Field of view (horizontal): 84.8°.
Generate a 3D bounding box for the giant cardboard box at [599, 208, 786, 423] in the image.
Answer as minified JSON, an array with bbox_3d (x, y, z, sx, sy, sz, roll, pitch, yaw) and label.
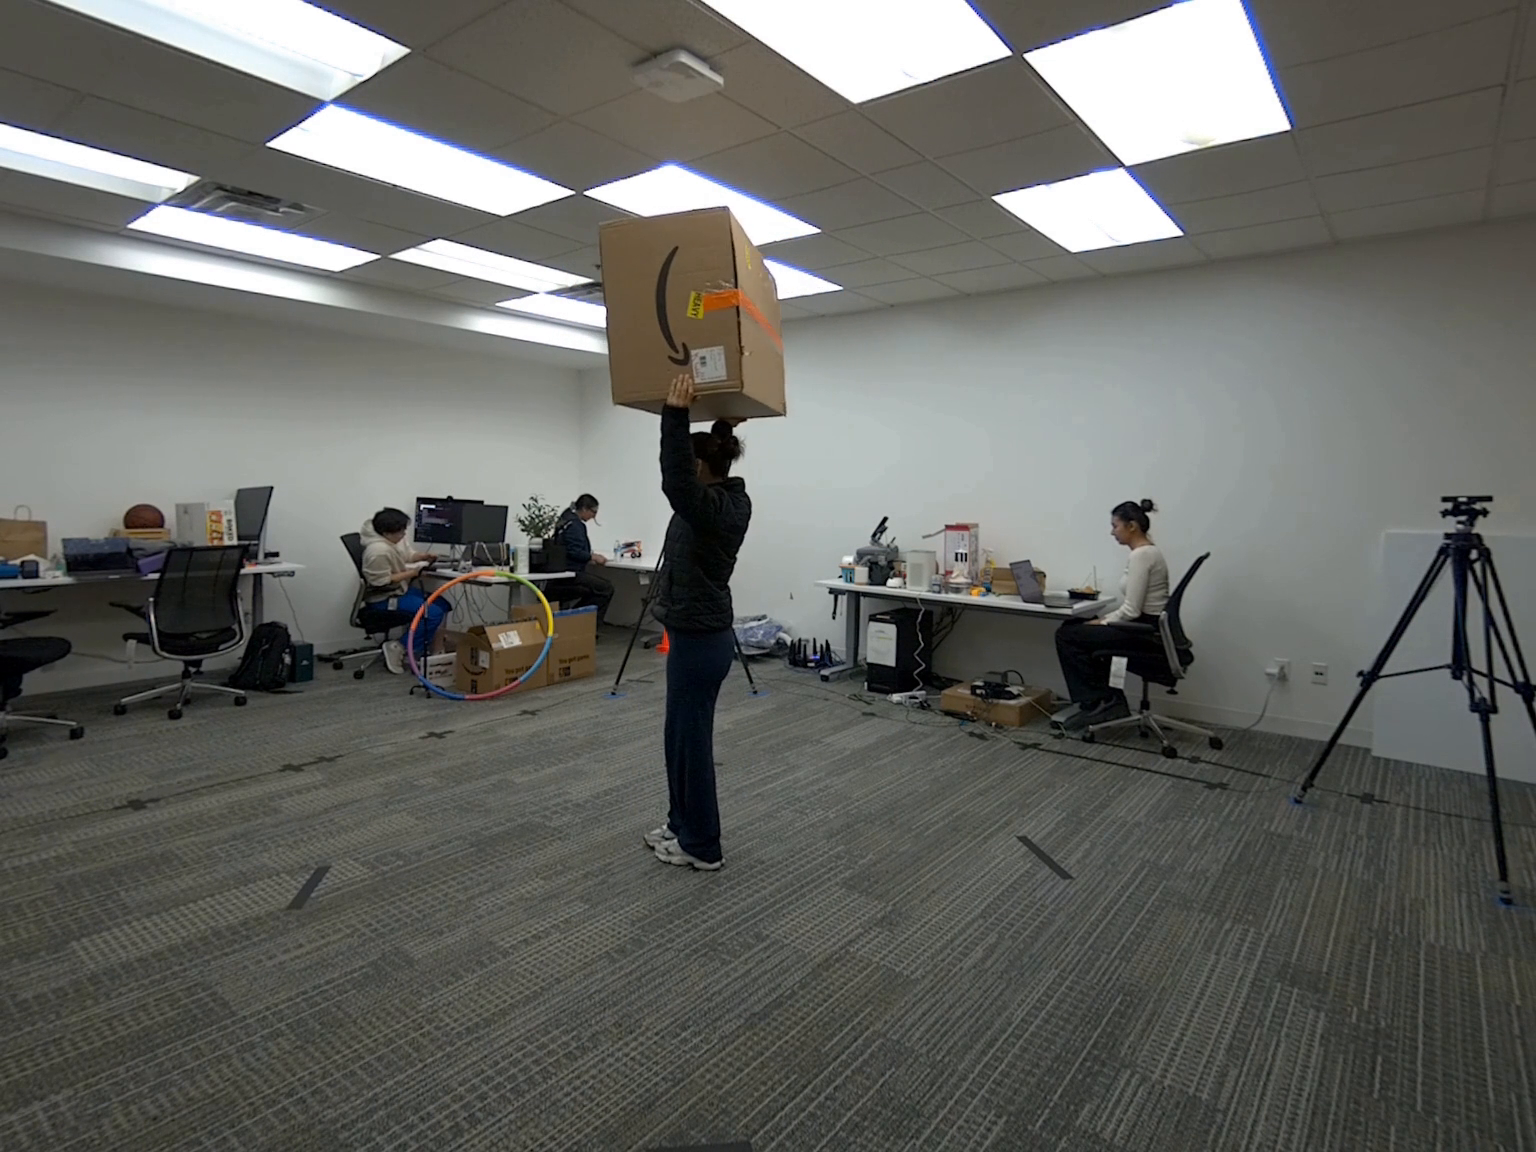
[{"bbox_3d":[-0.215,-0.895,3.145,0.452,0.581,1.020,-2,6,10],"label":"giant cardboard box"}]
